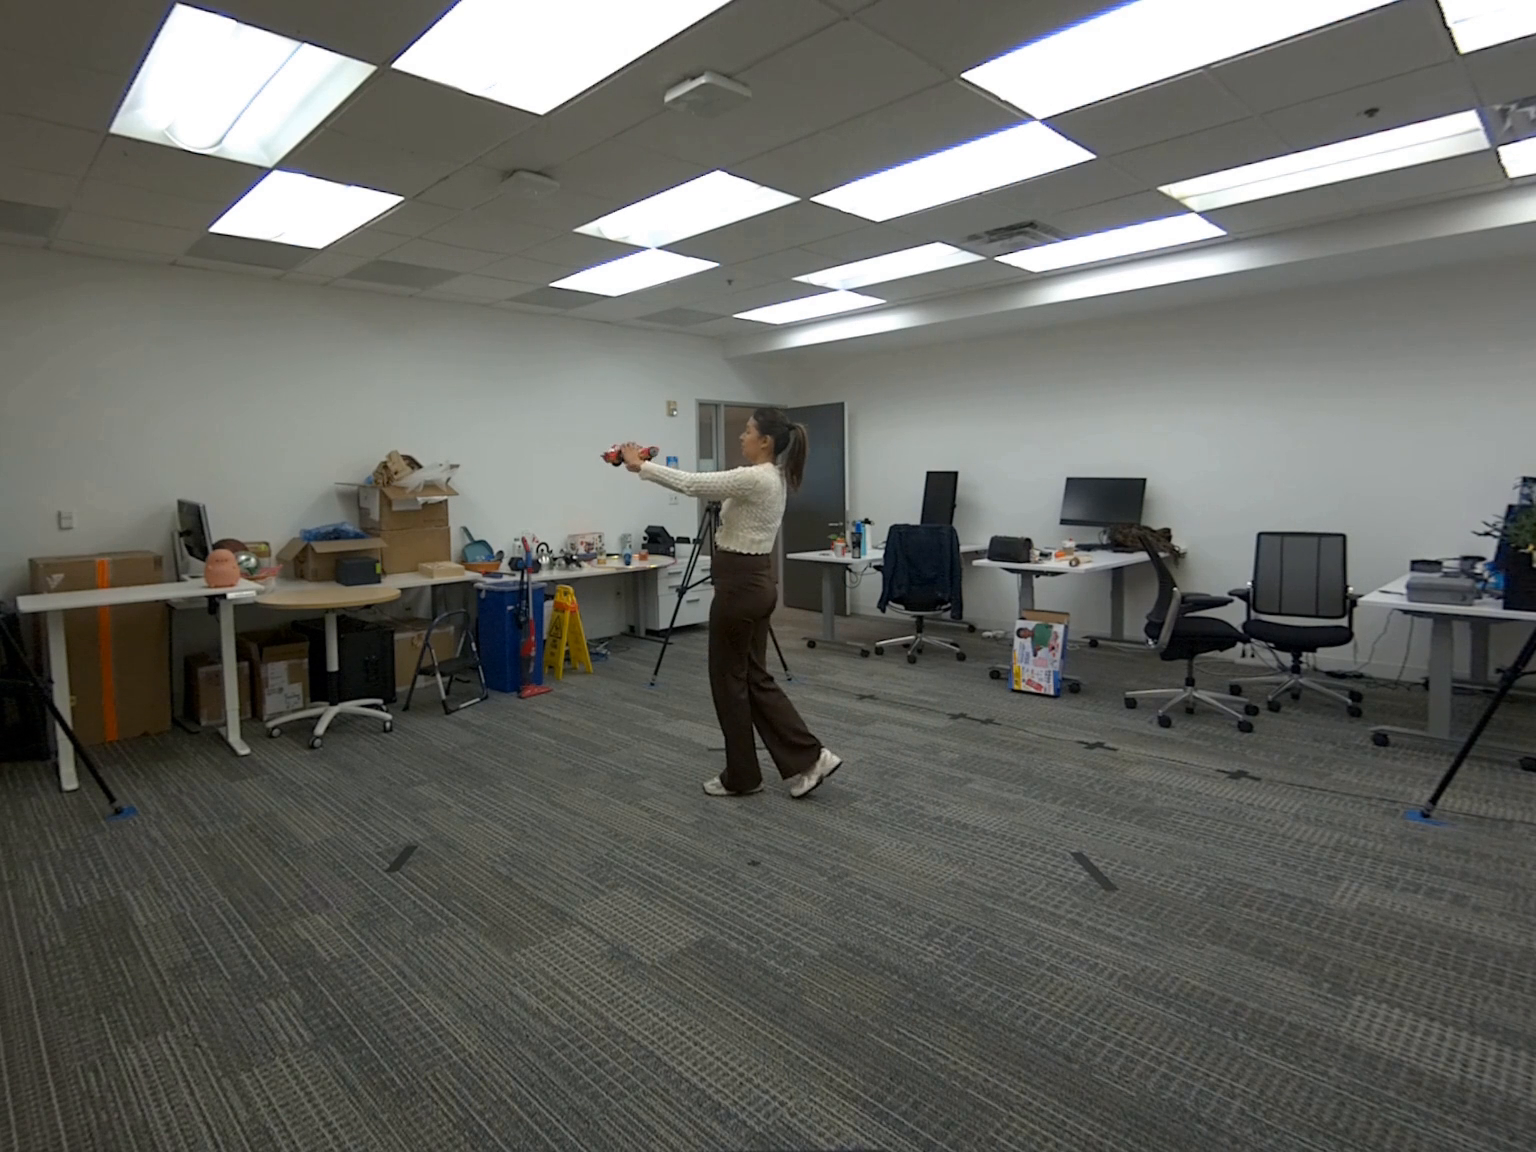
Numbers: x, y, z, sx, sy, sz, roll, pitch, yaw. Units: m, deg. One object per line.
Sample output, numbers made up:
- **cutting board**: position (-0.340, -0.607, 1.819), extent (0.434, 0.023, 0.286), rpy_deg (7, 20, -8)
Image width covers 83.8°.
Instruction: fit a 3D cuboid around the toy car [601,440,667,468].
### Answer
- **toy car**: position (-0.596, -0.537, 3.789), extent (0.249, 0.084, 0.132), rpy_deg (0, -7, -23)
